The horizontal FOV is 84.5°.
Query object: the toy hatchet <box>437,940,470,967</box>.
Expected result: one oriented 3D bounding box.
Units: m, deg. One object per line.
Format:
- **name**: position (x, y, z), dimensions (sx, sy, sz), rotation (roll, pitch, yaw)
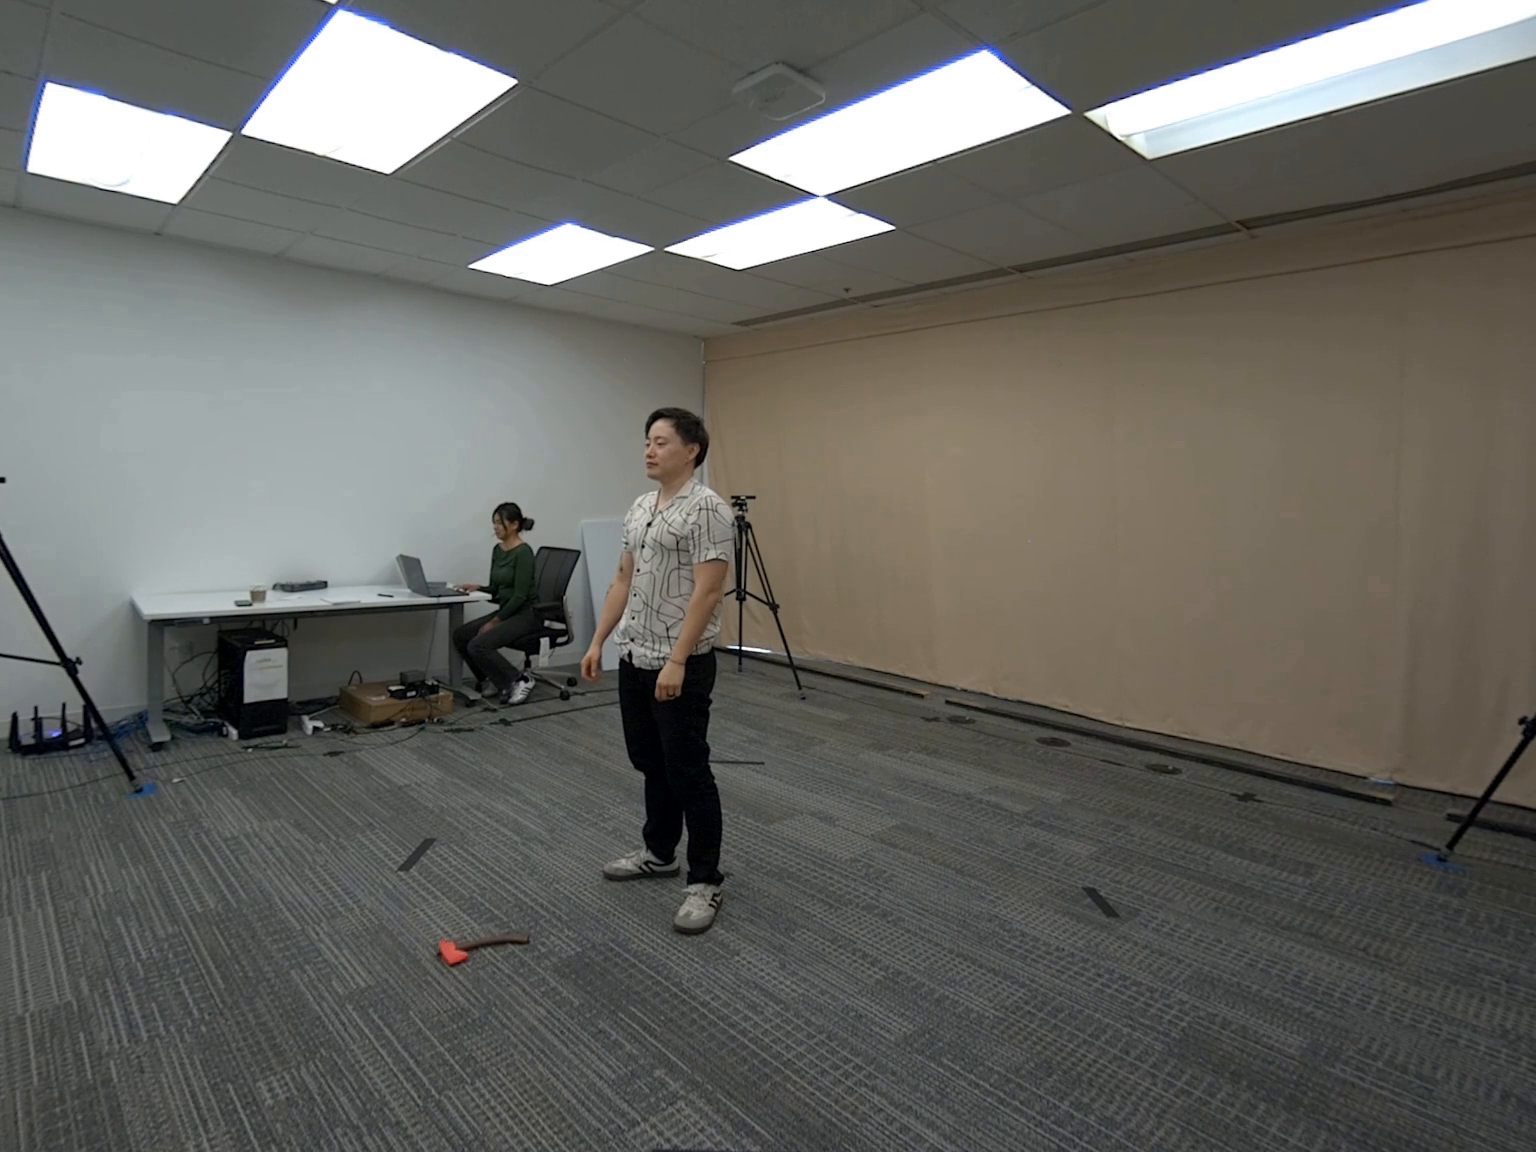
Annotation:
- **toy hatchet**: position (-0.868, 1.133, 2.530), dimensions (0.267, 0.029, 0.133), rotation (2, 5, -13)
